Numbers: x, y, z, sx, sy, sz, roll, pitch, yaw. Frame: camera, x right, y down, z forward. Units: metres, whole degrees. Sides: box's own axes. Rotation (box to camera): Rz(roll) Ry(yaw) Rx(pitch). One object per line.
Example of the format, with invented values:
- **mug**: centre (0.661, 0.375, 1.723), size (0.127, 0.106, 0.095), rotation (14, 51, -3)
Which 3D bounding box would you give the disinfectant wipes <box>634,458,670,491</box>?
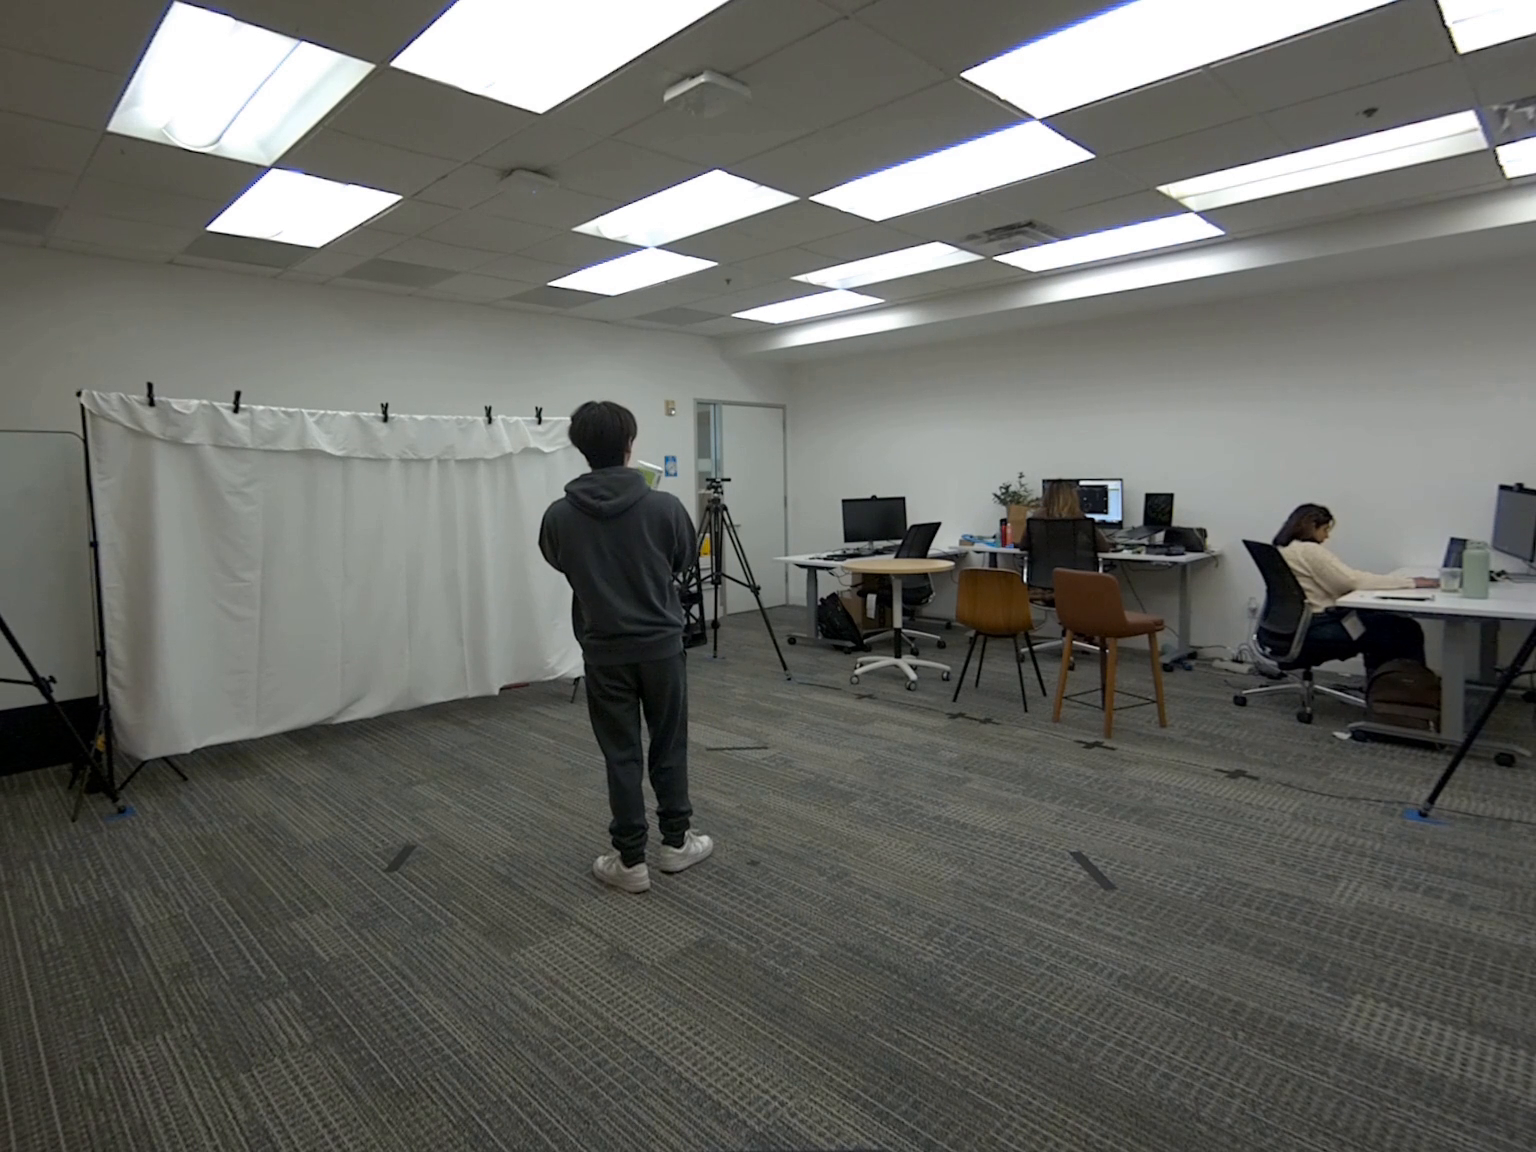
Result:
- **disinfectant wipes**: centre (-0.474, -0.330, 3.283), size (0.117, 0.217, 0.118), rotation (19, 6, -4)
